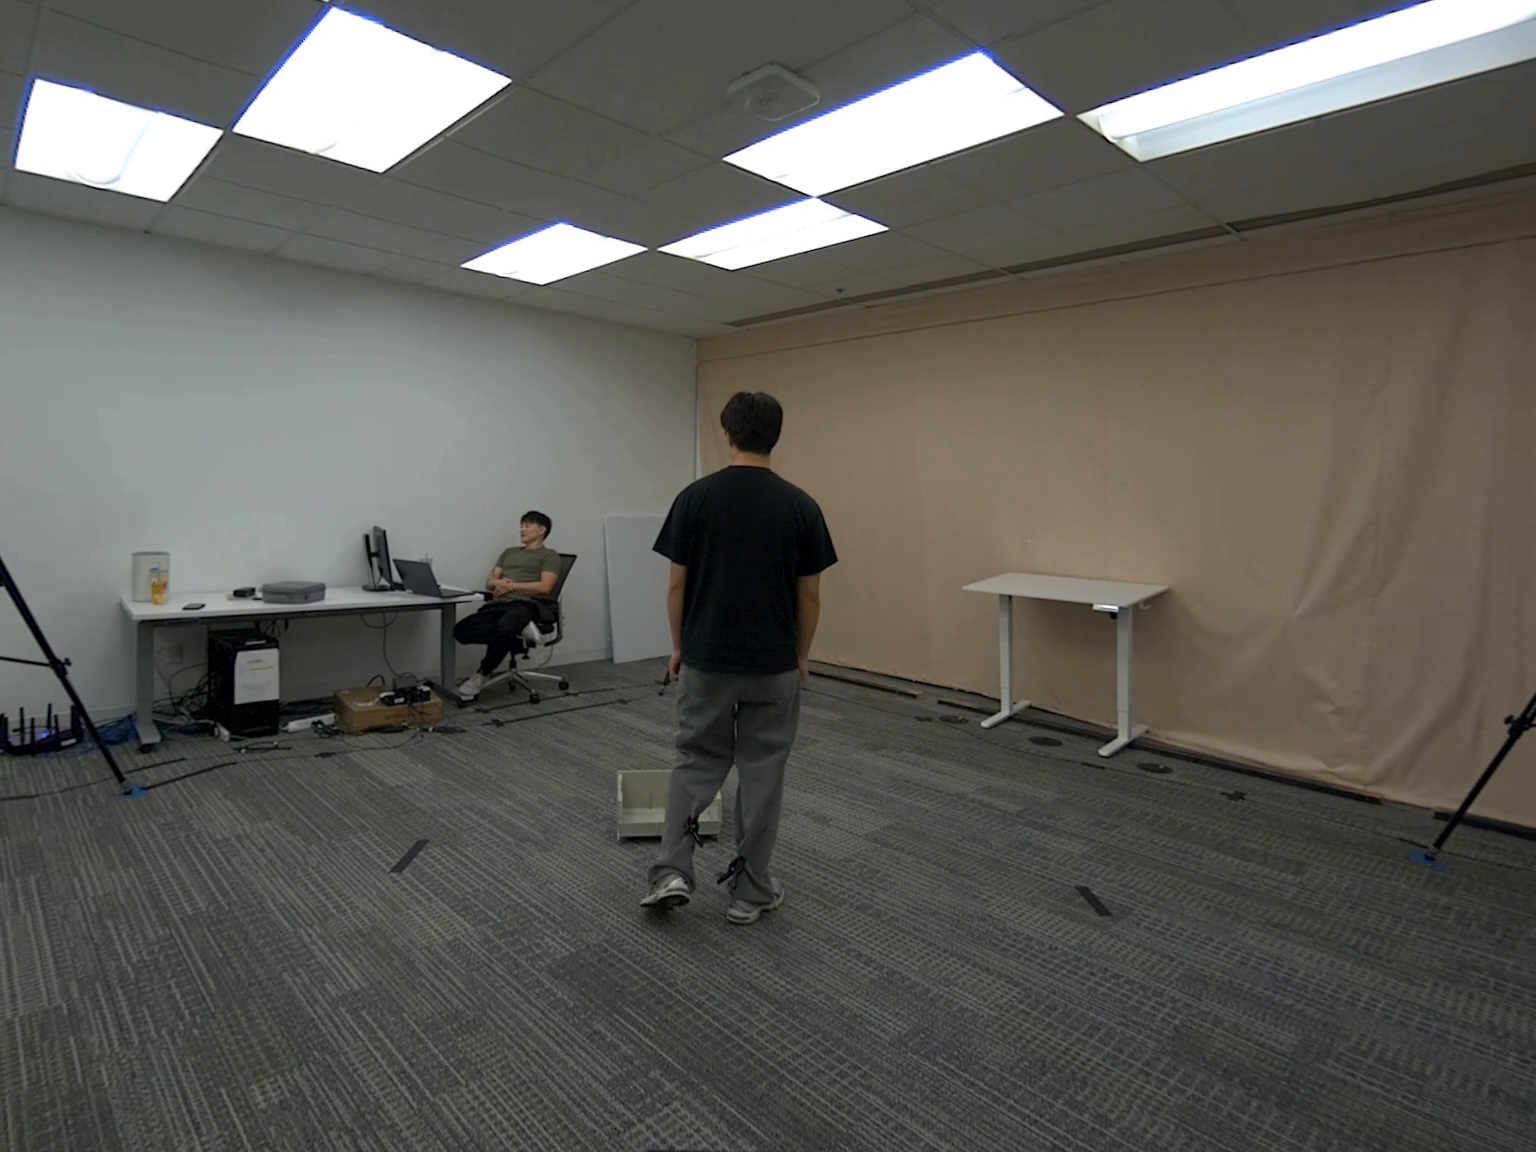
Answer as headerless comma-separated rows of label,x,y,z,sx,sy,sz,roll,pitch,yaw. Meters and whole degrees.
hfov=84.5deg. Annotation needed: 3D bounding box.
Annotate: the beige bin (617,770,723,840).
beige bin,-0.432,0.970,3.554,0.419,0.188,0.381,0,5,-9
